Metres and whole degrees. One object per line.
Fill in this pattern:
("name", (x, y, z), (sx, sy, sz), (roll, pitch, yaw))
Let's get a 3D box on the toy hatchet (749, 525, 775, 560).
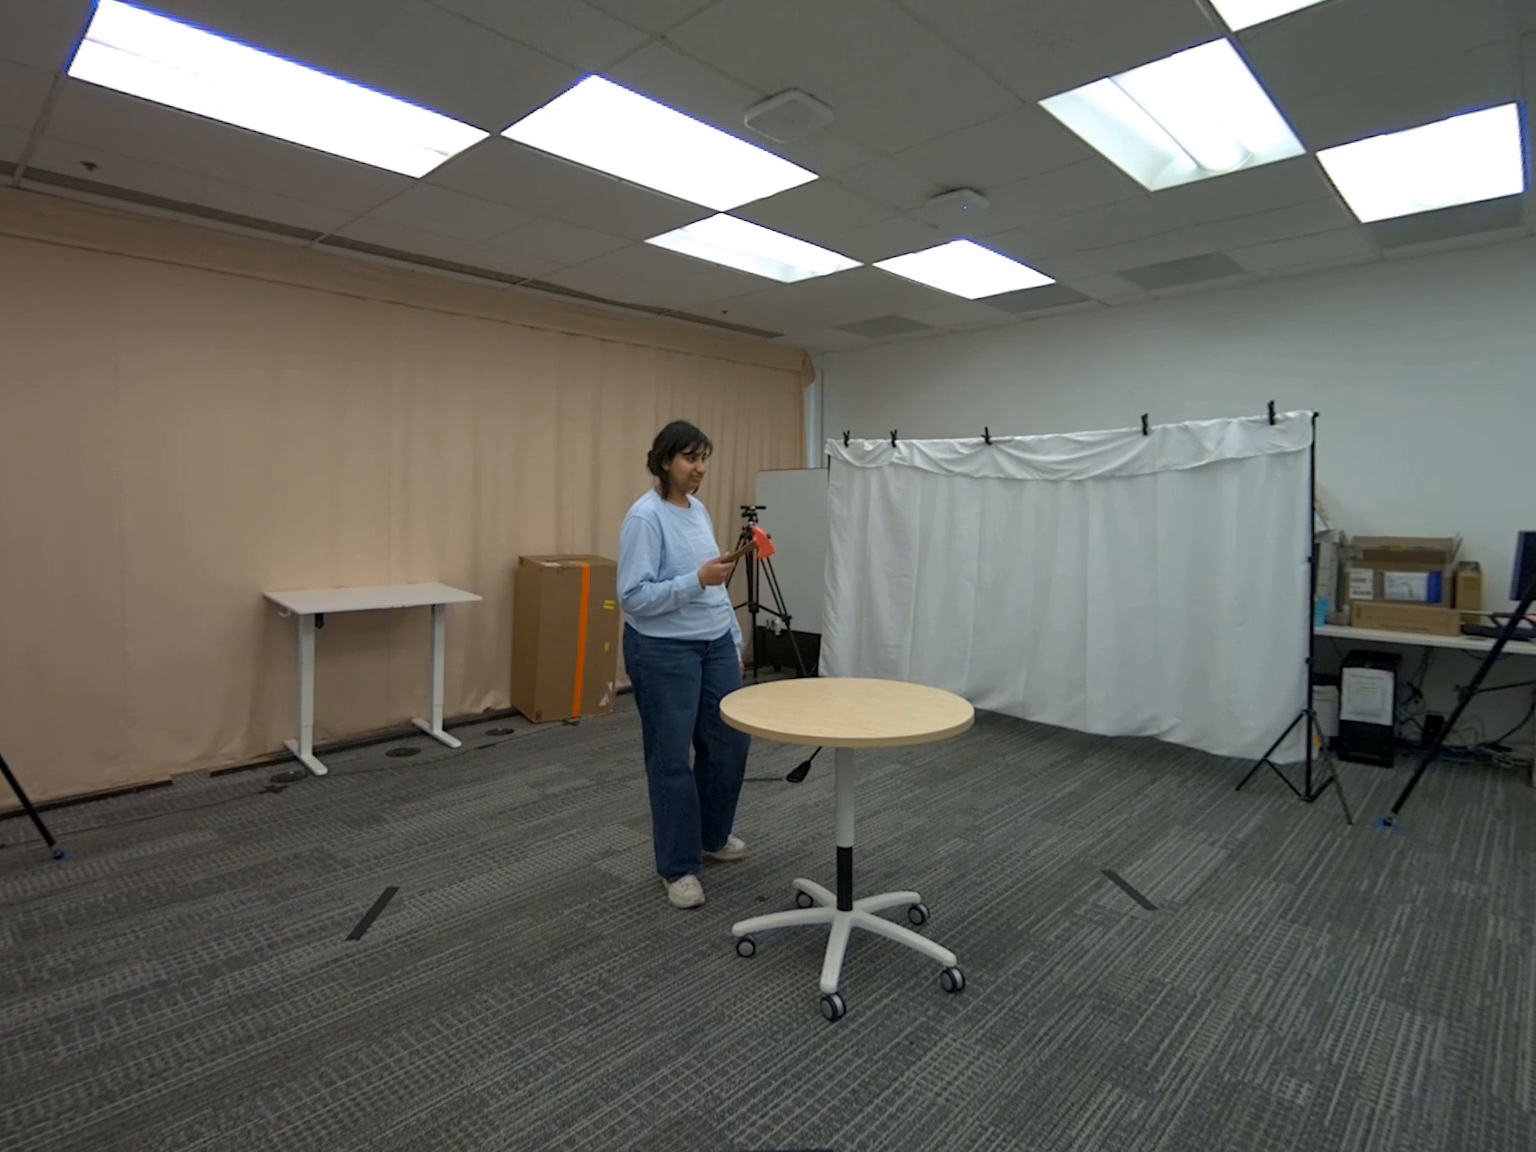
("toy hatchet", (-0.087, -0.051, 2.816), (0.127, 0.271, 0.030), (33, 24, -24))
